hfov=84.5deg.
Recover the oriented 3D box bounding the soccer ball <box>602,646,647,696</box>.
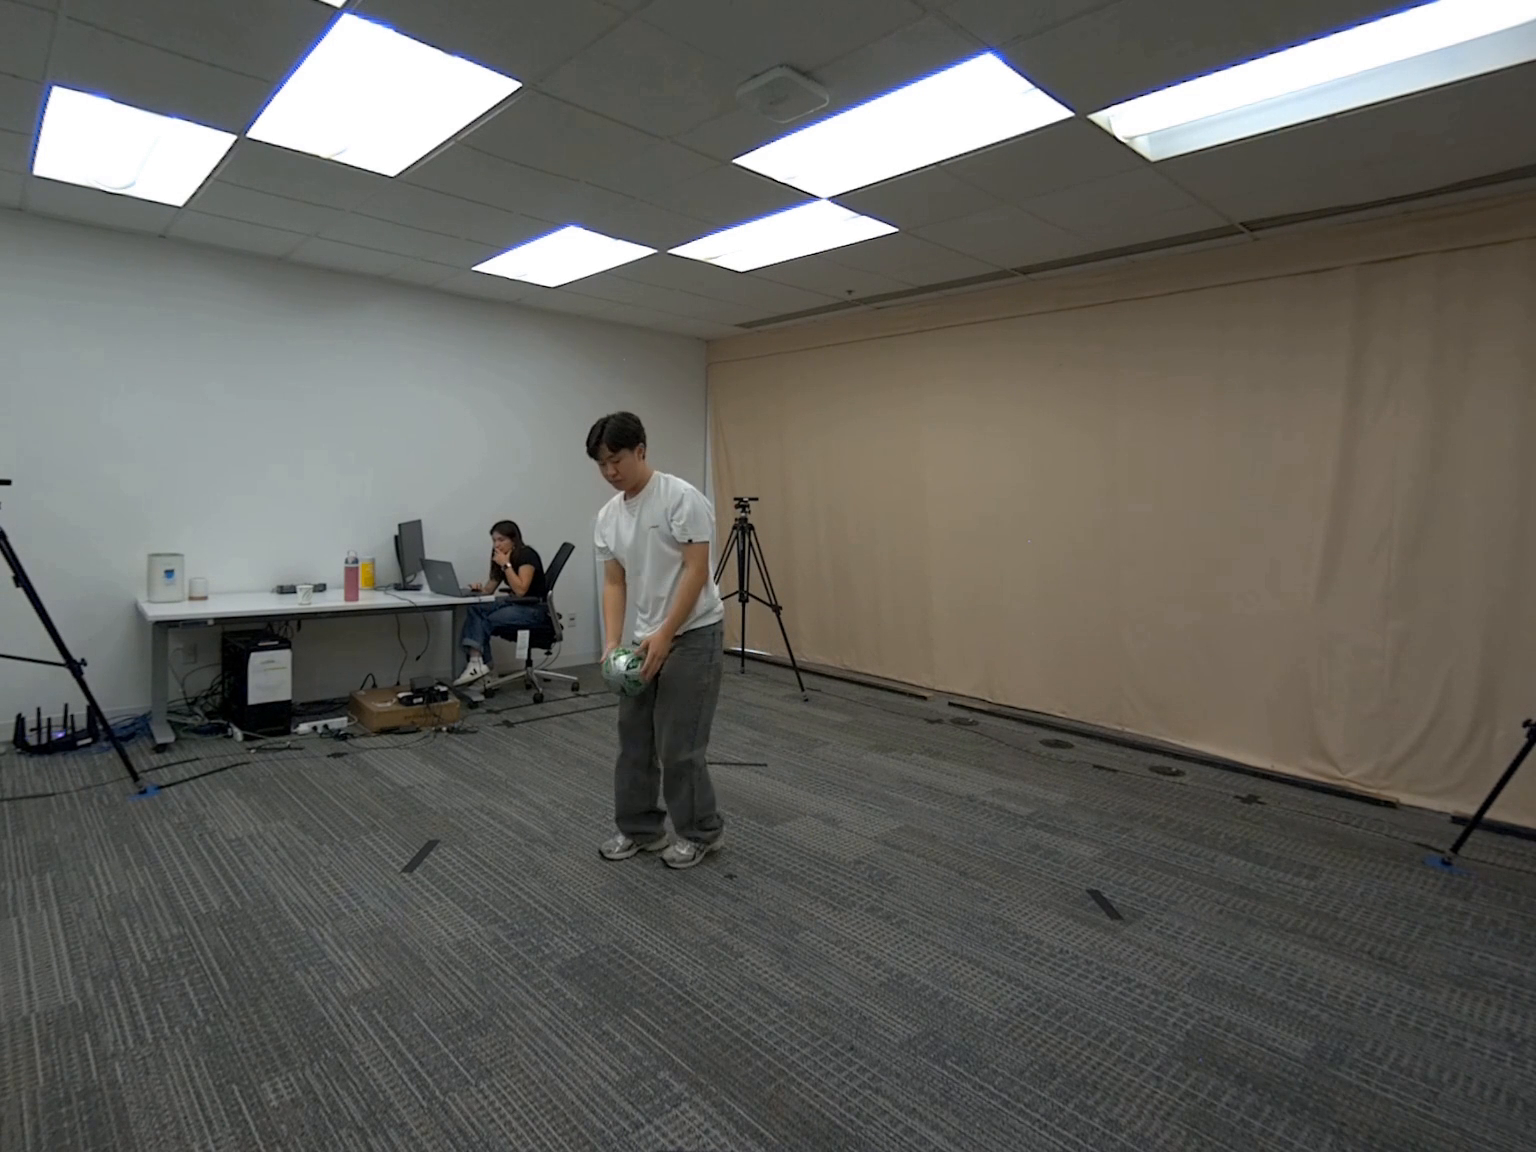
[{"bbox_3d":[-0.504,0.338,3.016,0.187,0.187,0.188,1,4,-1],"label":"soccer ball"}]
